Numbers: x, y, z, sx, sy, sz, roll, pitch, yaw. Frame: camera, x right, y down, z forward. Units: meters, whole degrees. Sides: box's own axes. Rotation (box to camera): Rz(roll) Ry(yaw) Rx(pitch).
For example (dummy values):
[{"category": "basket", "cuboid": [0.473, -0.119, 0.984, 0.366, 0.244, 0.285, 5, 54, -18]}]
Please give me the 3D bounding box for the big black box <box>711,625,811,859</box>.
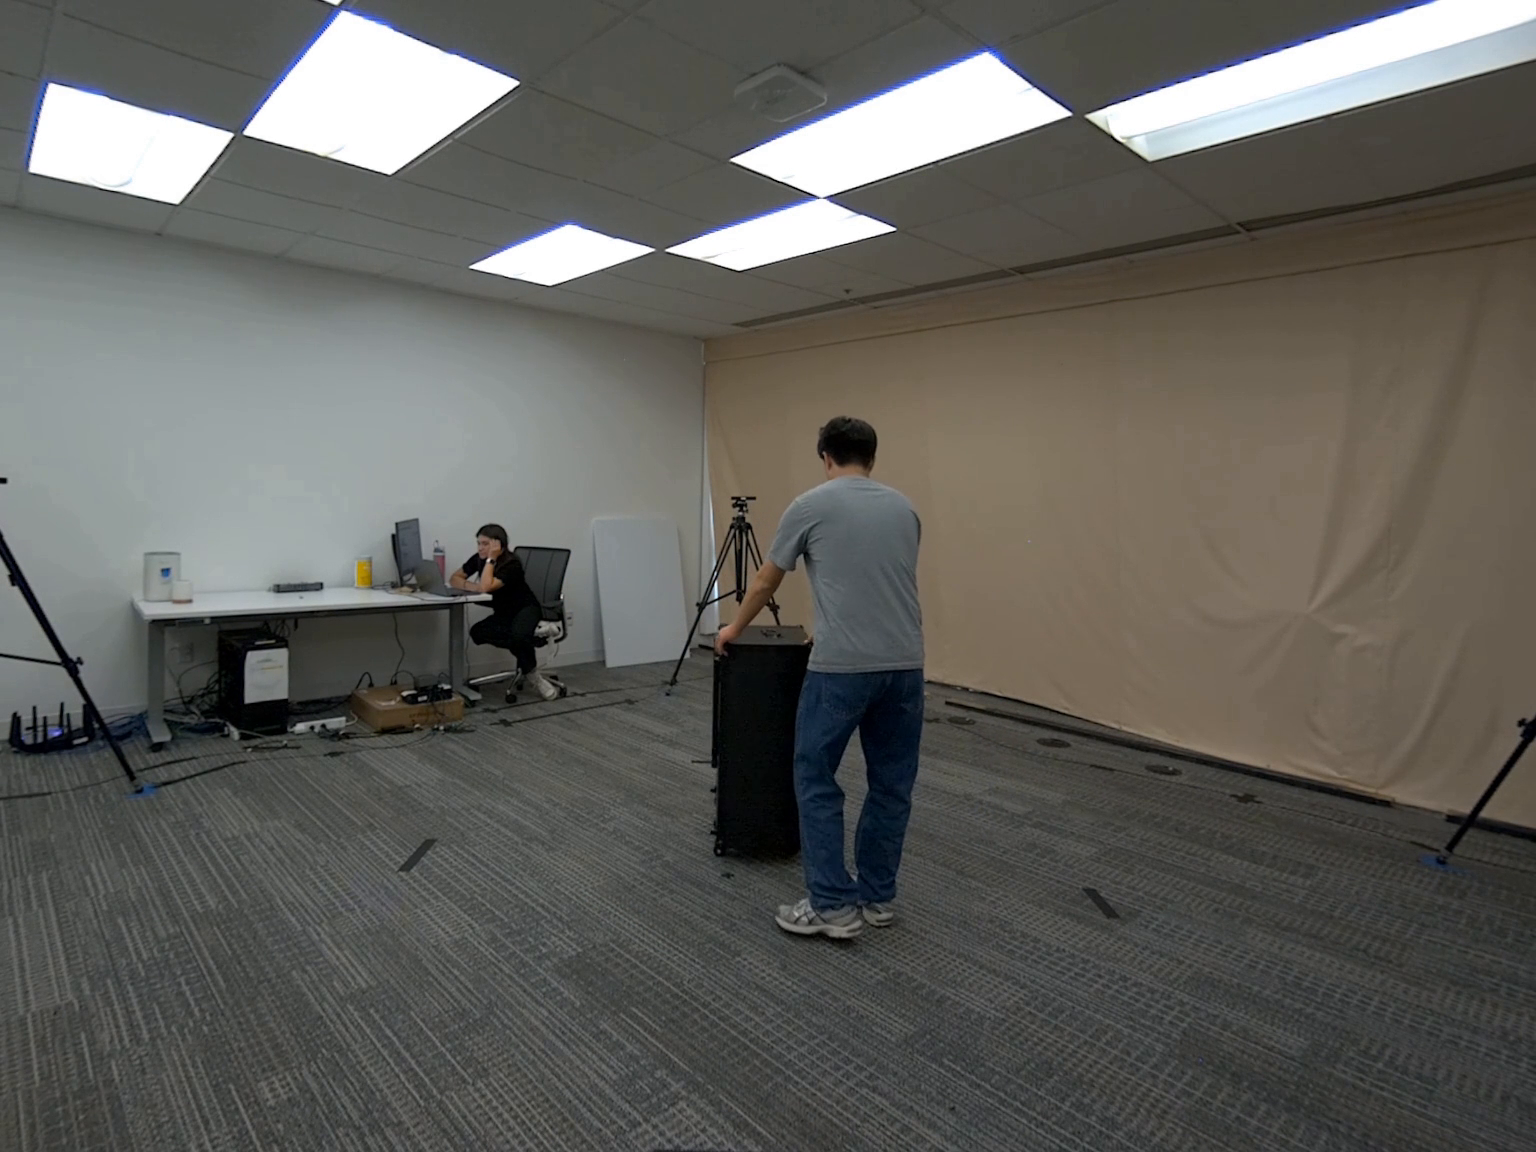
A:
[{"category": "big black box", "cuboid": [-0.045, 0.660, 3.385, 0.395, 0.859, 0.524, 1, 4, -4]}]
